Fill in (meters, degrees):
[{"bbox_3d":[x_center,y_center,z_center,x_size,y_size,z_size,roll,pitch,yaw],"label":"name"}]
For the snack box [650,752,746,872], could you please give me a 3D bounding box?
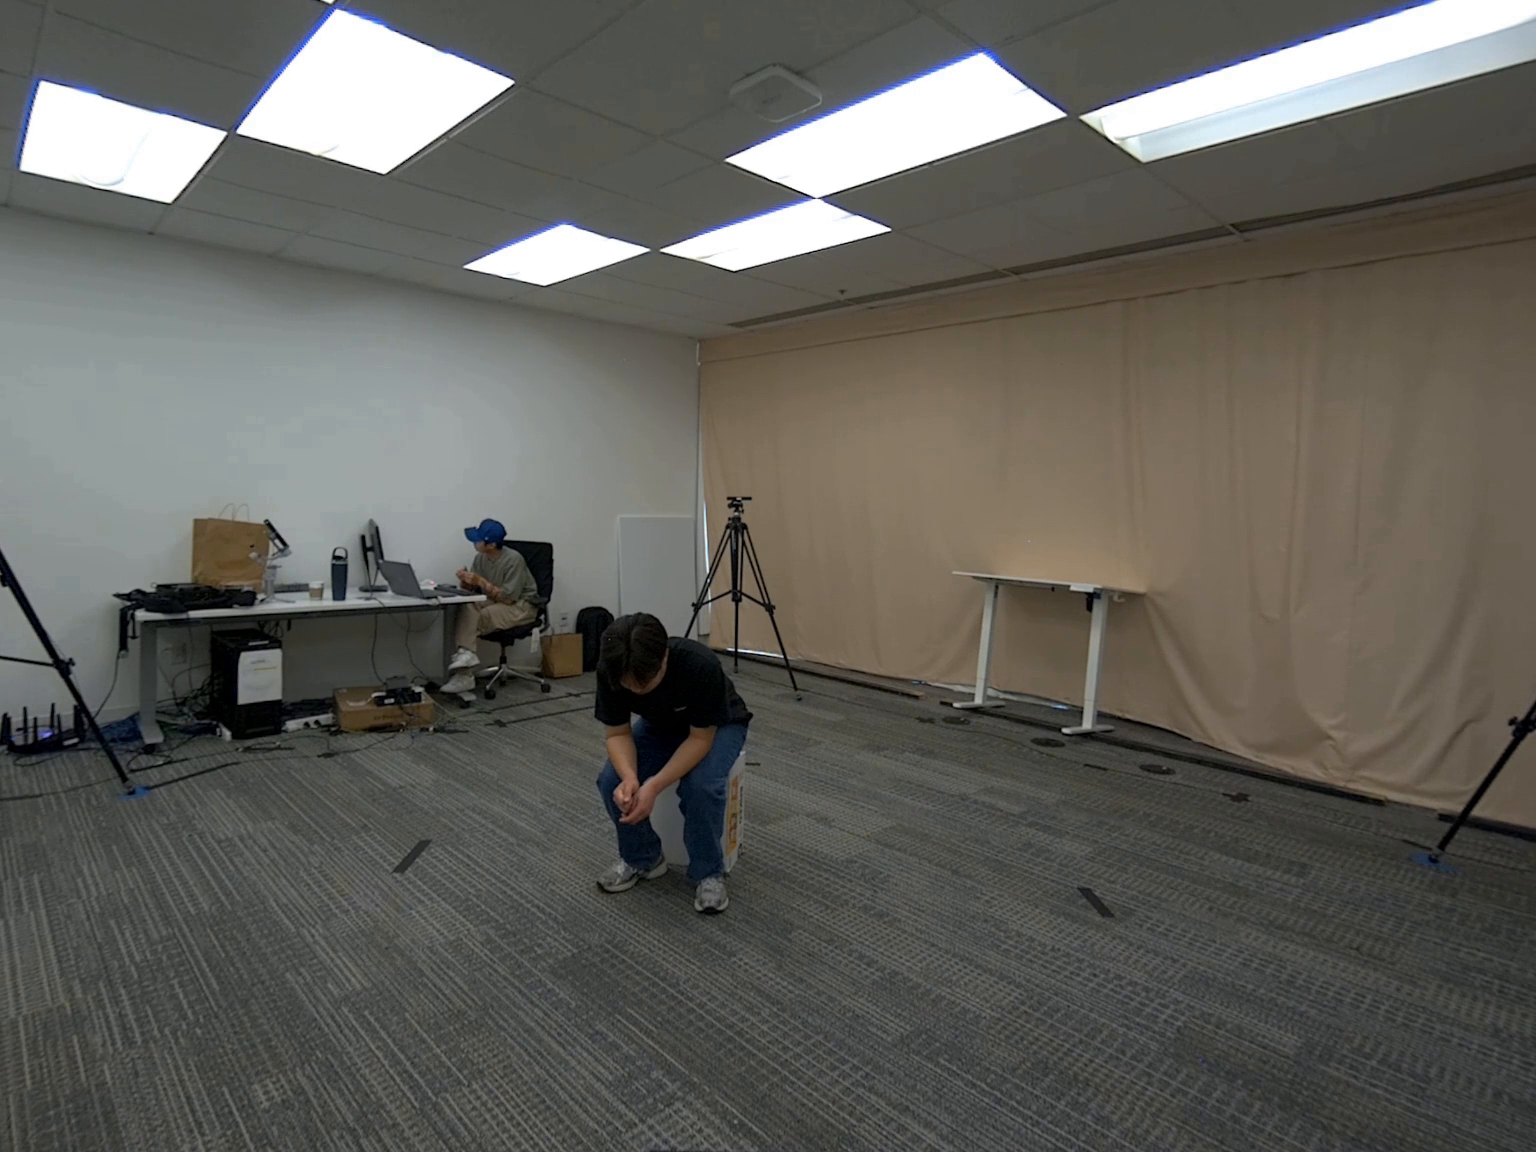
[{"bbox_3d":[-0.282,0.891,3.254,0.345,0.404,0.203,3,4,16],"label":"snack box"}]
